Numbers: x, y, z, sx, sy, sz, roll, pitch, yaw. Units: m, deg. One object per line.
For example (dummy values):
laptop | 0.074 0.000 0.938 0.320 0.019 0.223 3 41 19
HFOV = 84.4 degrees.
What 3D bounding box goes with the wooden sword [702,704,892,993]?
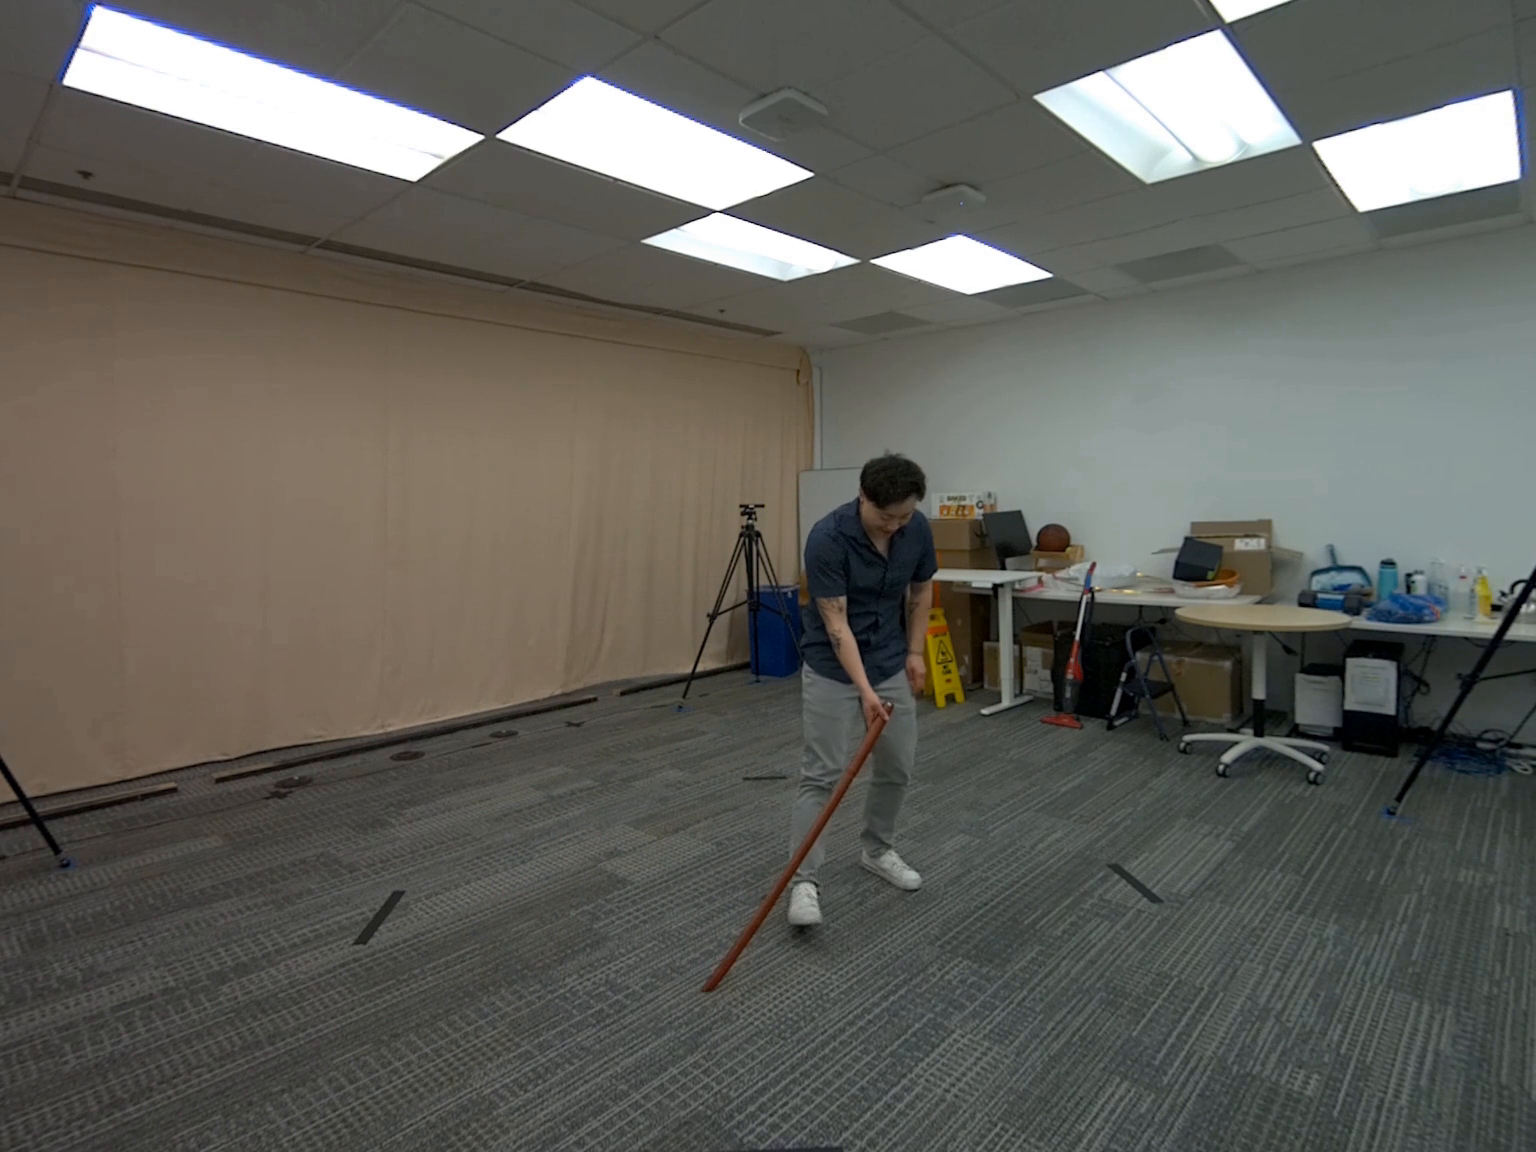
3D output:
wooden sword | 0.121 0.804 2.568 0.051 1.022 0.024 37 -18 -2
